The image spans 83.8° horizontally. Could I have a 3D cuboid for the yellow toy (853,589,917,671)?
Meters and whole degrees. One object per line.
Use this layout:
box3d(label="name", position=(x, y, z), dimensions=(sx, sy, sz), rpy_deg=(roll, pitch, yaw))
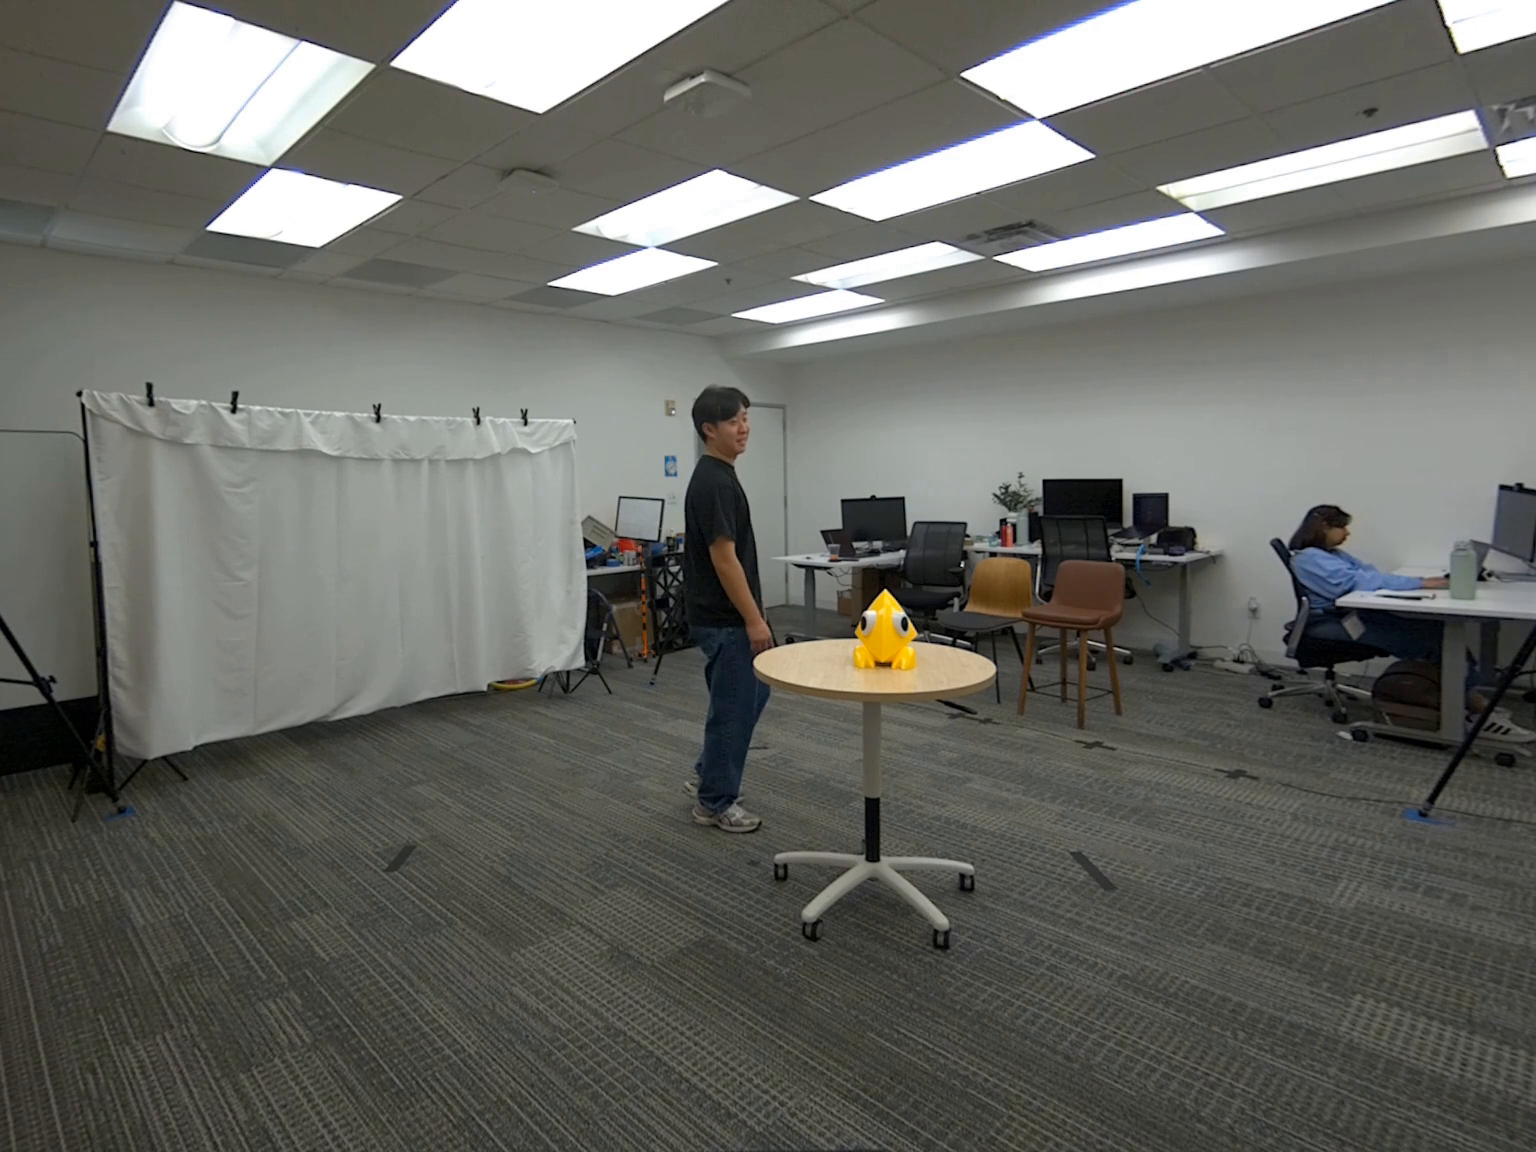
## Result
box3d(label="yellow toy", position=(0.378, 0.166, 2.736), dimensions=(0.207, 0.230, 0.191), rpy_deg=(0, 5, 12))
